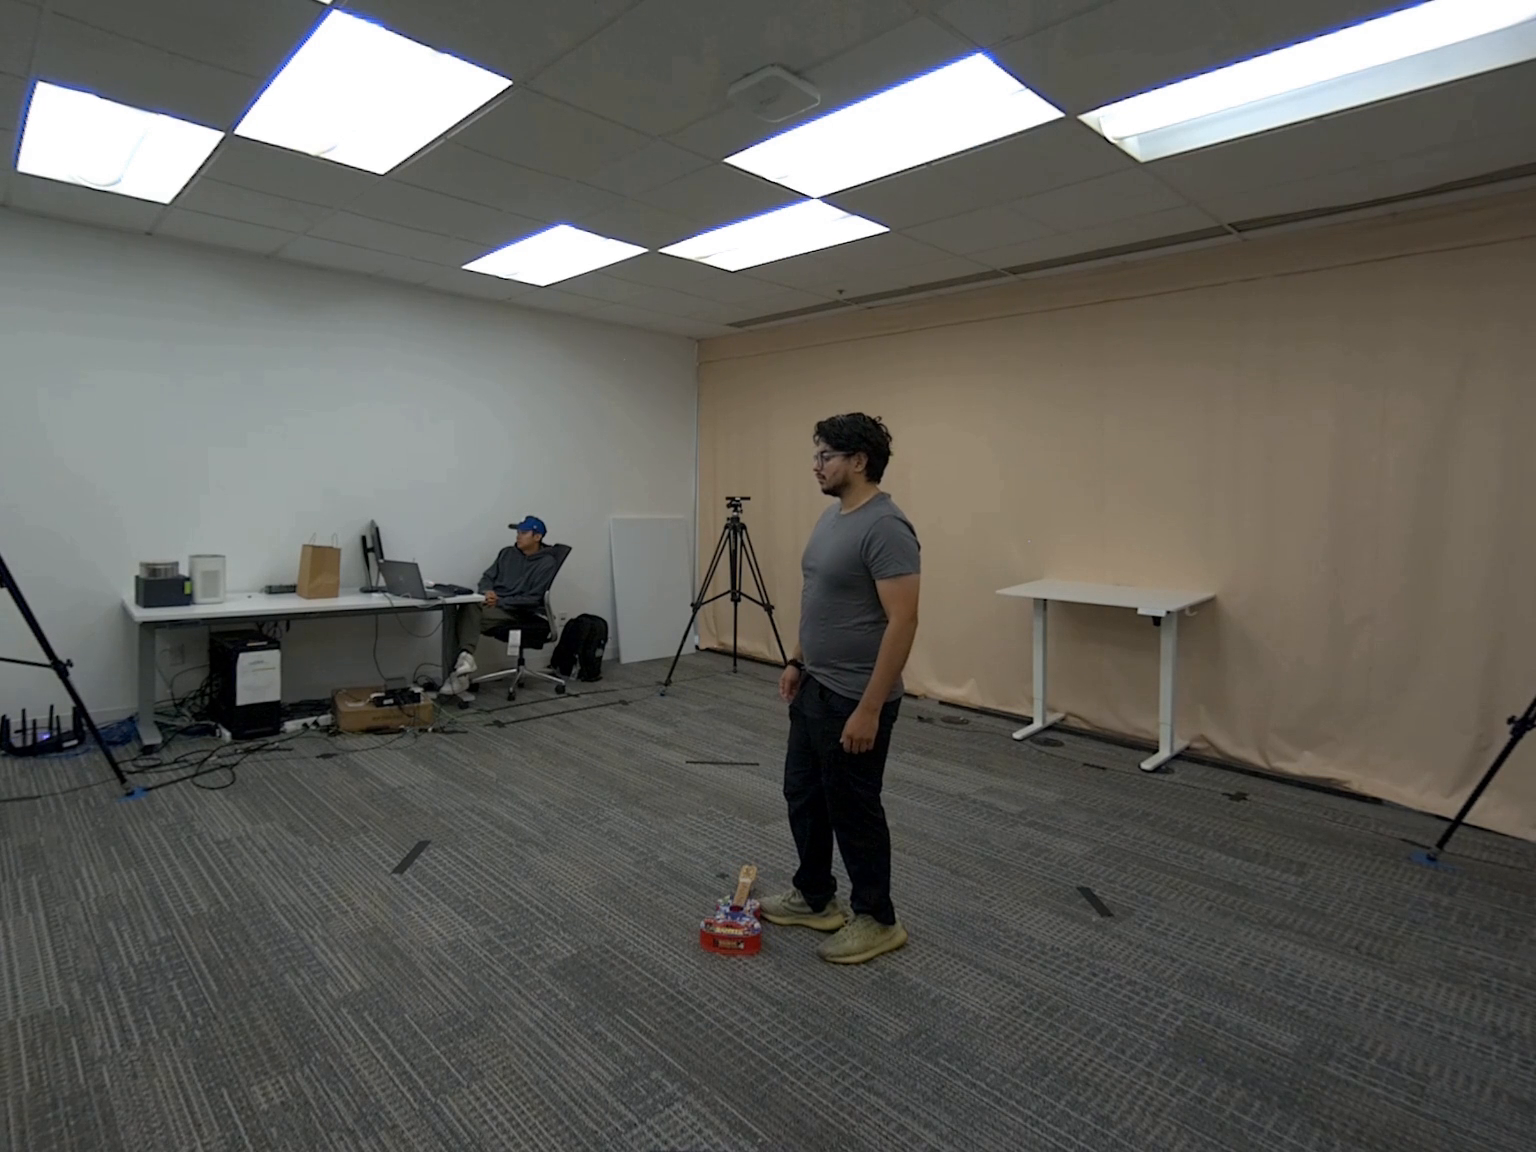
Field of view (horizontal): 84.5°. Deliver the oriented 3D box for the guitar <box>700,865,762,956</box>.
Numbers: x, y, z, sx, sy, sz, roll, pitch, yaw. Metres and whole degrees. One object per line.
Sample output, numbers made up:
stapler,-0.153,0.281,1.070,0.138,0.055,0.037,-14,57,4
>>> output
guitar,-0.069,1.095,2.803,0.195,0.070,0.493,1,6,15
